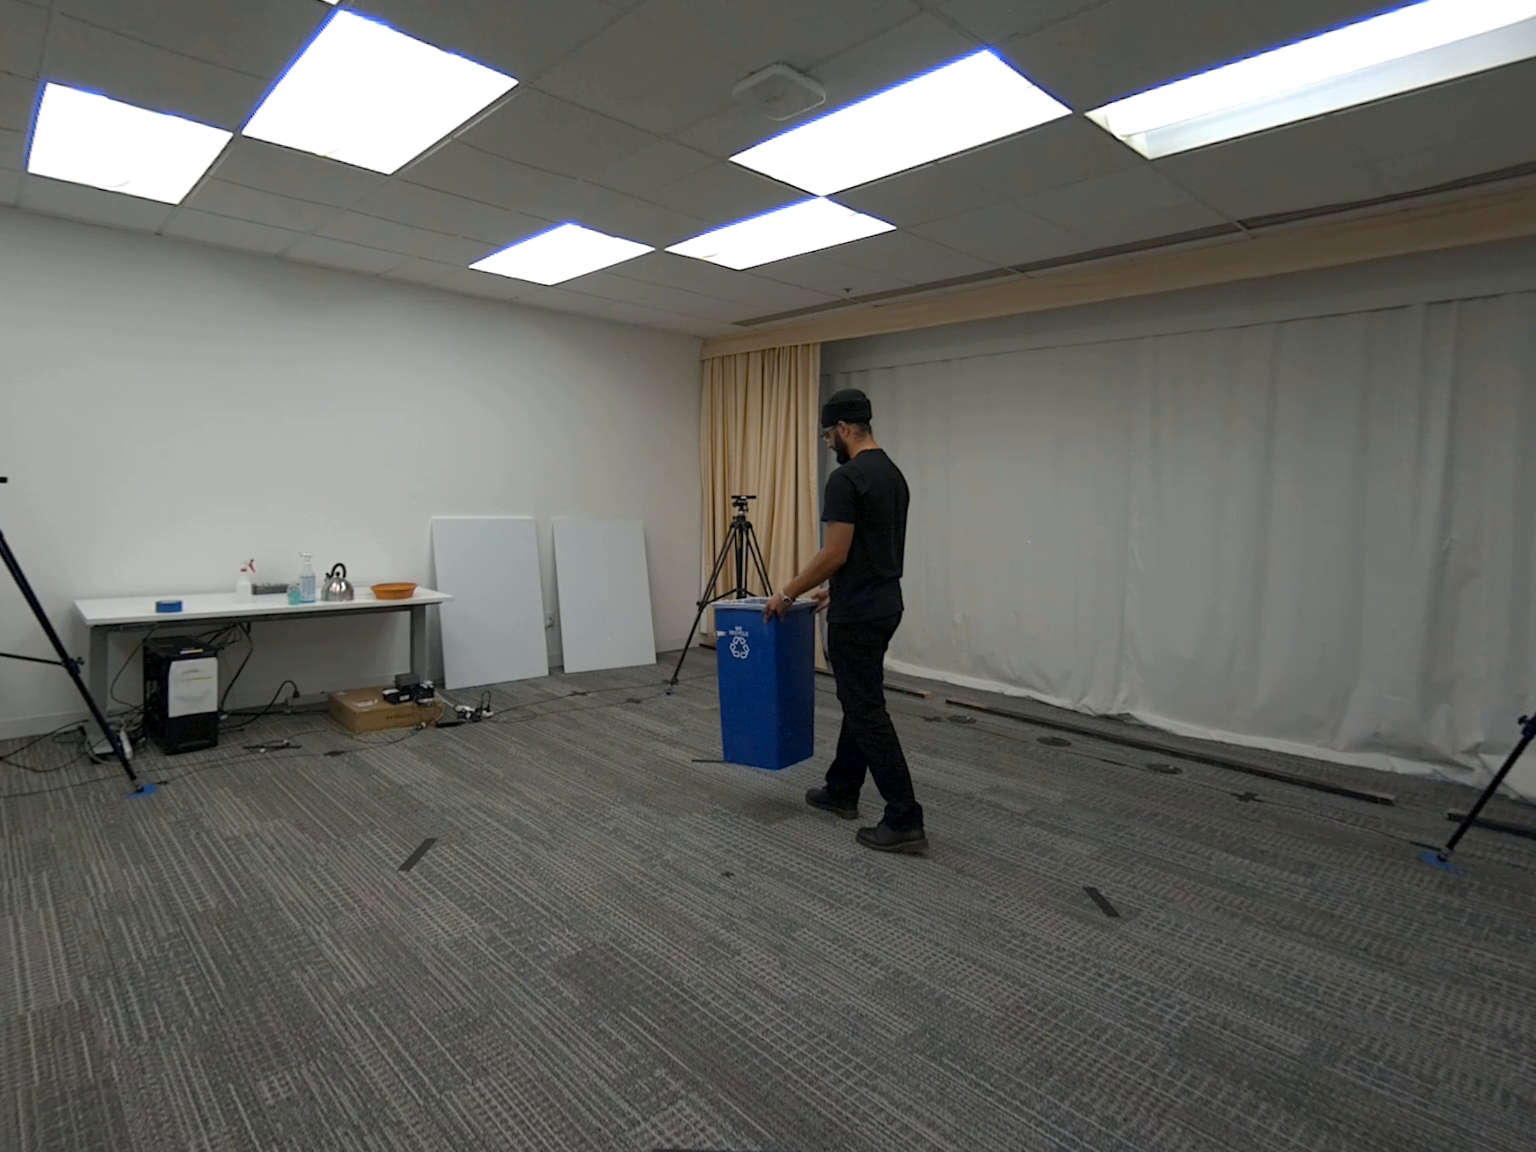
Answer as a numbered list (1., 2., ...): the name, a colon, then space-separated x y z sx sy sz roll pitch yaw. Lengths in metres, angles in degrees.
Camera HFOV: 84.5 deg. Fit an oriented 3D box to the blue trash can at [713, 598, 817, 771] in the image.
1. blue trash can: -0.003 0.468 3.797 0.382 0.713 0.370 -1 1 36
